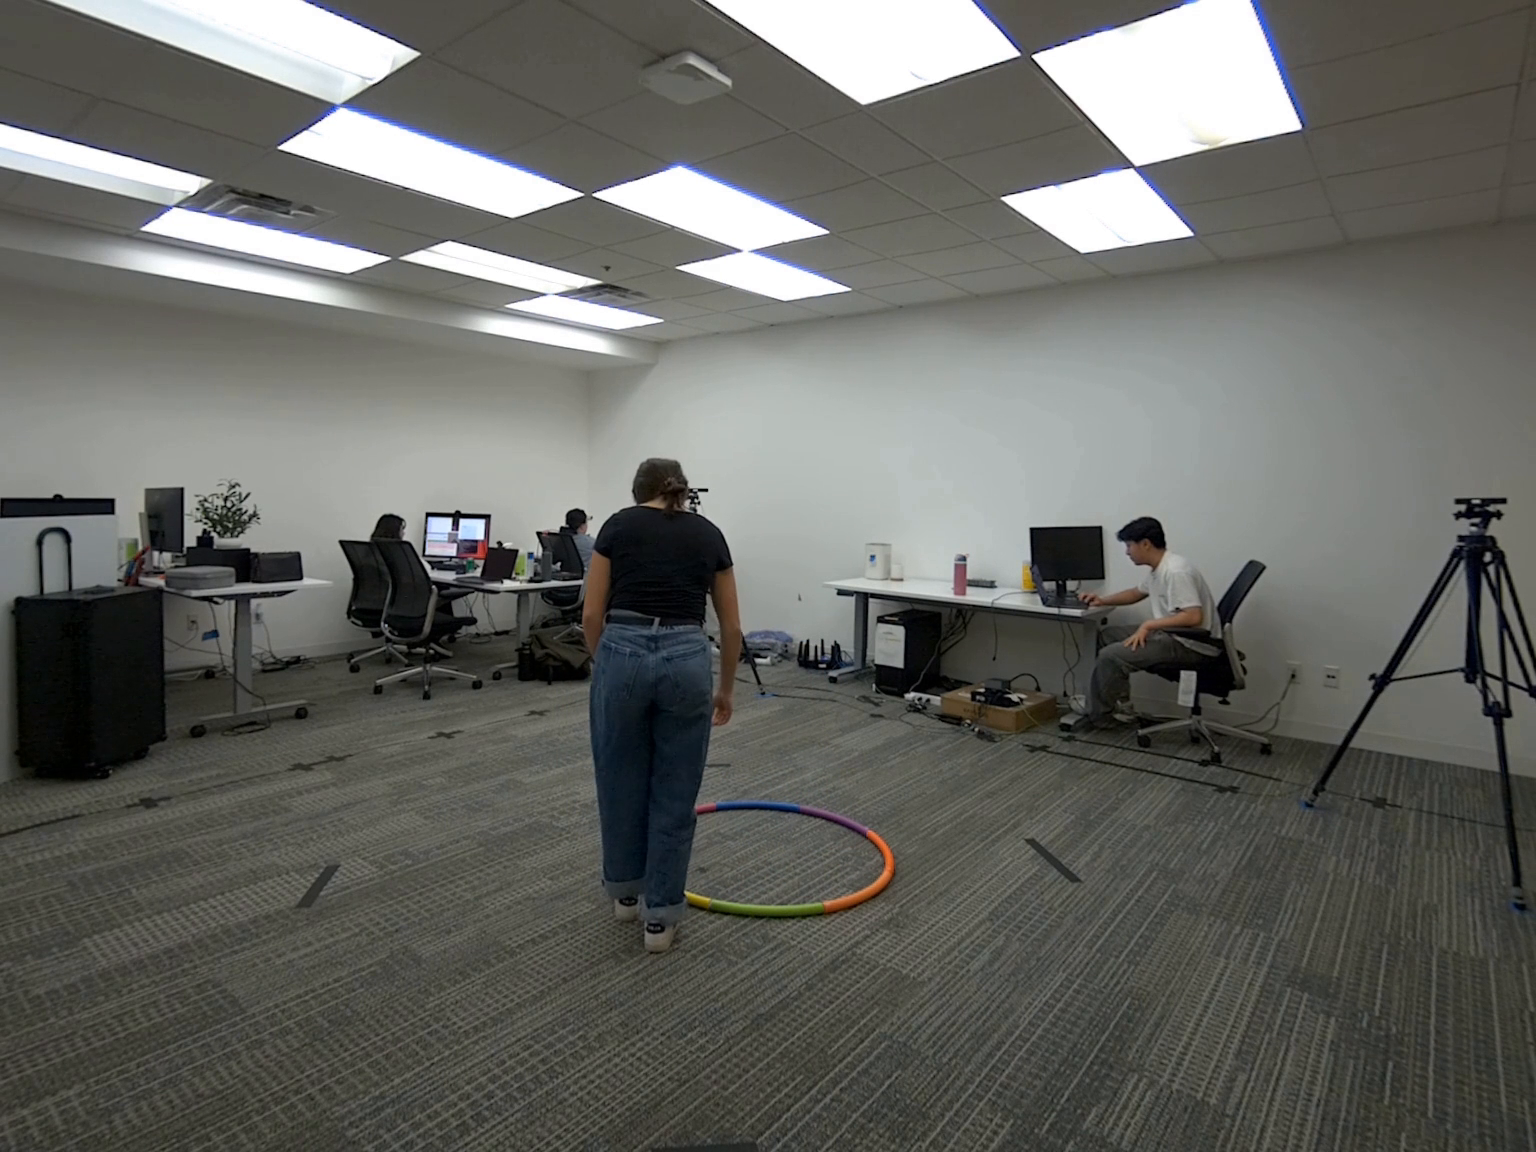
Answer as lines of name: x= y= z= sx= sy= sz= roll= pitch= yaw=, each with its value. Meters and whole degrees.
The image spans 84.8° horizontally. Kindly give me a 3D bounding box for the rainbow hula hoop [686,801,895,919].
rainbow hula hoop: x=-0.021 y=1.028 z=3.242 sx=0.978 sy=0.035 sz=0.984 roll=1 pitch=6 yaw=-2
